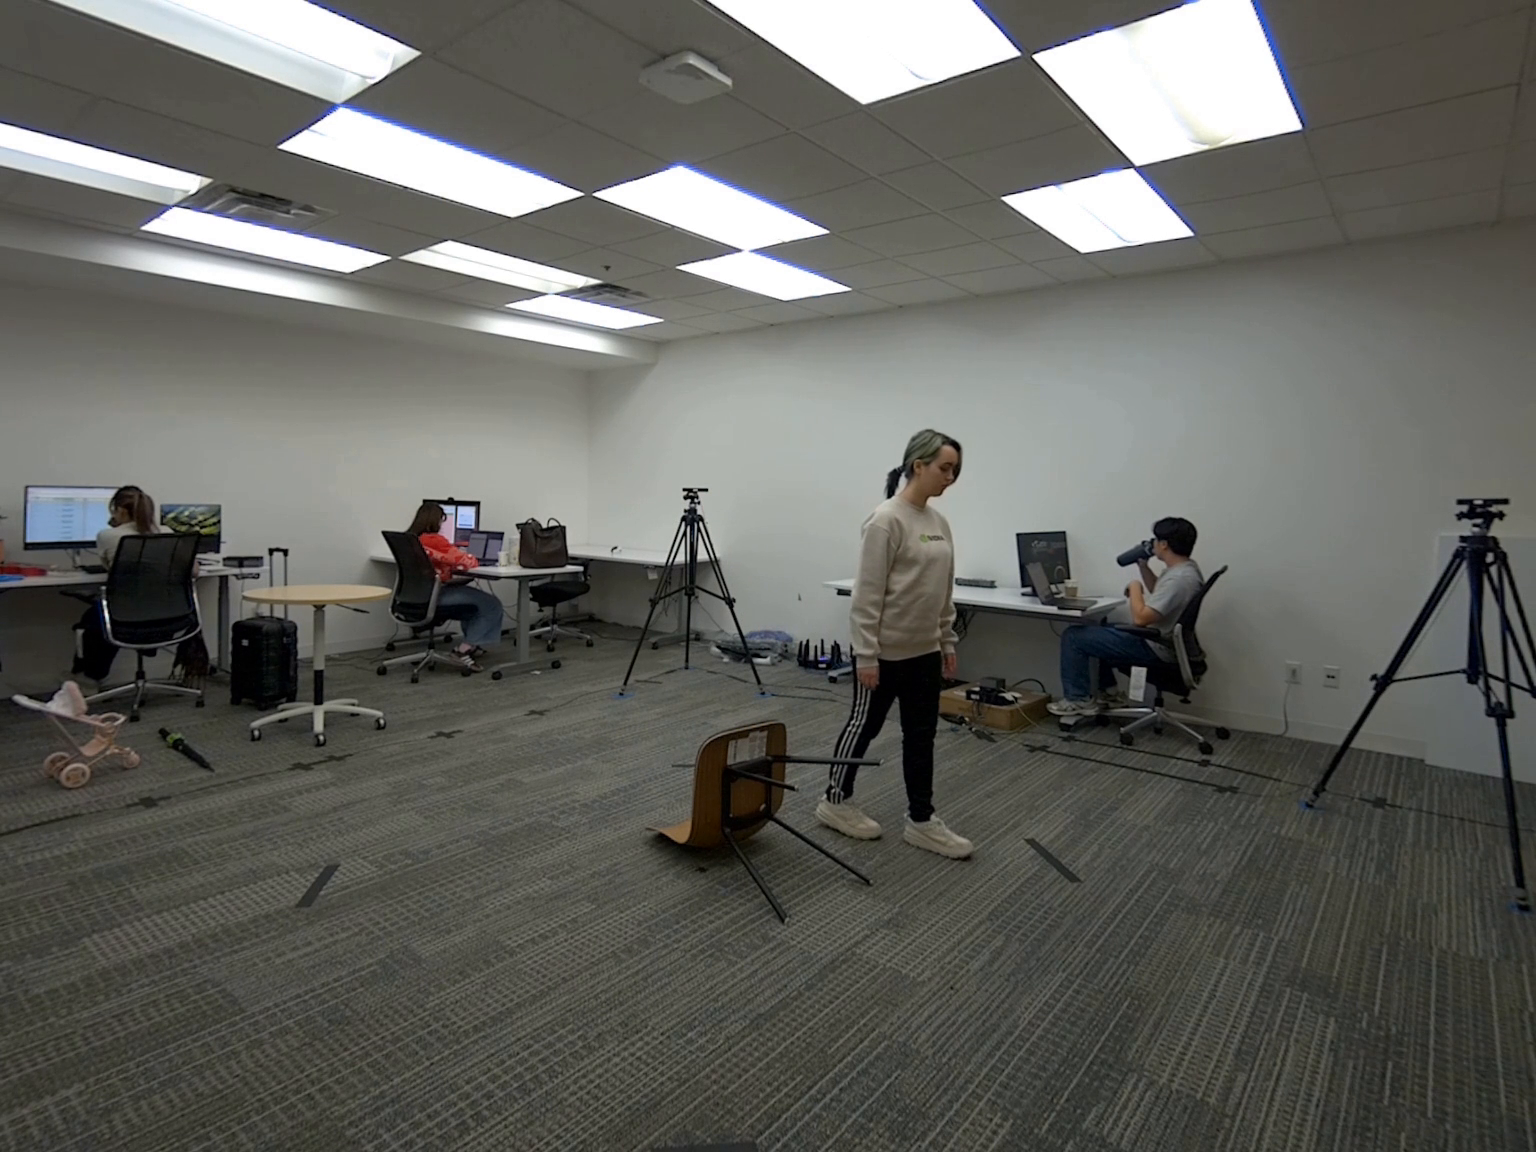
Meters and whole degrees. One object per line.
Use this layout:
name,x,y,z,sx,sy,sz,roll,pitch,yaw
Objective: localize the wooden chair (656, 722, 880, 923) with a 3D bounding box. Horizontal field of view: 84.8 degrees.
wooden chair,-0.080,0.810,3.162,0.463,0.522,0.907,-2,4,-43
